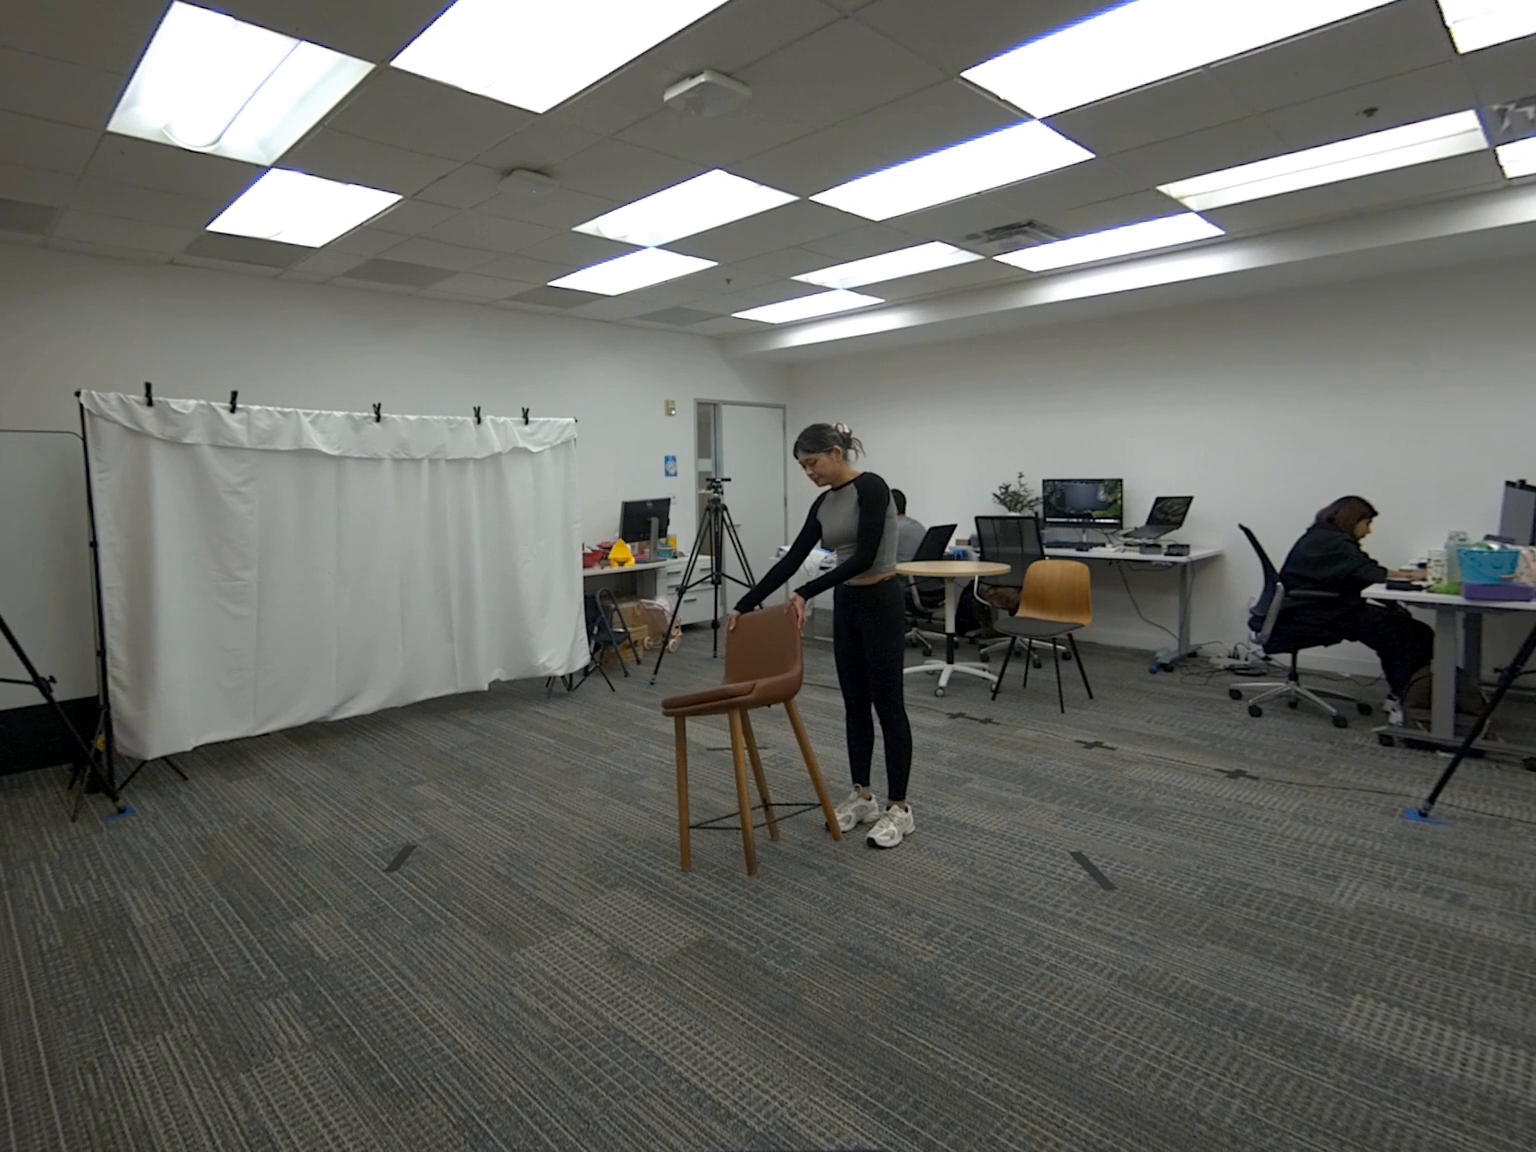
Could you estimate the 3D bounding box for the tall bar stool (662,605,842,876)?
[{"bbox_3d":[-0.087,0.569,3.121,0.454,0.900,0.464,-1,-13,-41],"label":"tall bar stool"}]
